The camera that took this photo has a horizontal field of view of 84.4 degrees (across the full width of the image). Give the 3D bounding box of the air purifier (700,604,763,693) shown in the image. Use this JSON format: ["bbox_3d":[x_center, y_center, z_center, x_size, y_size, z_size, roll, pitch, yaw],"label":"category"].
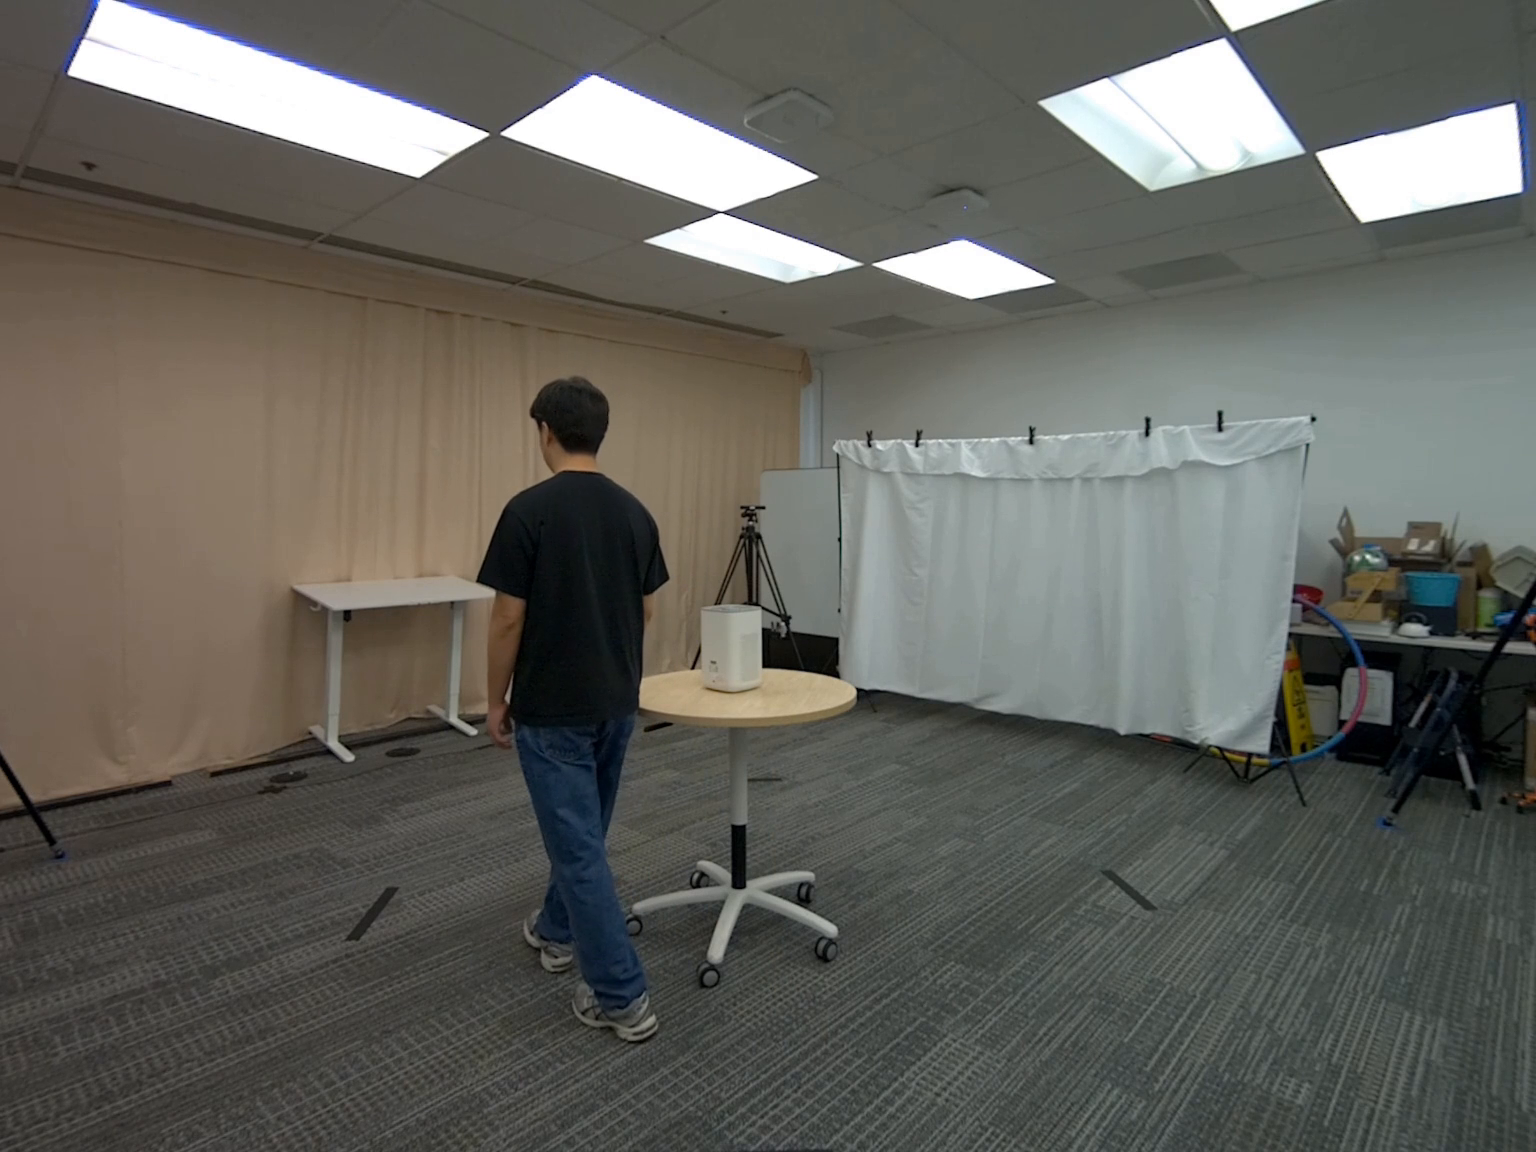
[{"bbox_3d":[-0.117,0.236,2.764,0.177,0.265,0.166,4,5,42],"label":"air purifier"}]
